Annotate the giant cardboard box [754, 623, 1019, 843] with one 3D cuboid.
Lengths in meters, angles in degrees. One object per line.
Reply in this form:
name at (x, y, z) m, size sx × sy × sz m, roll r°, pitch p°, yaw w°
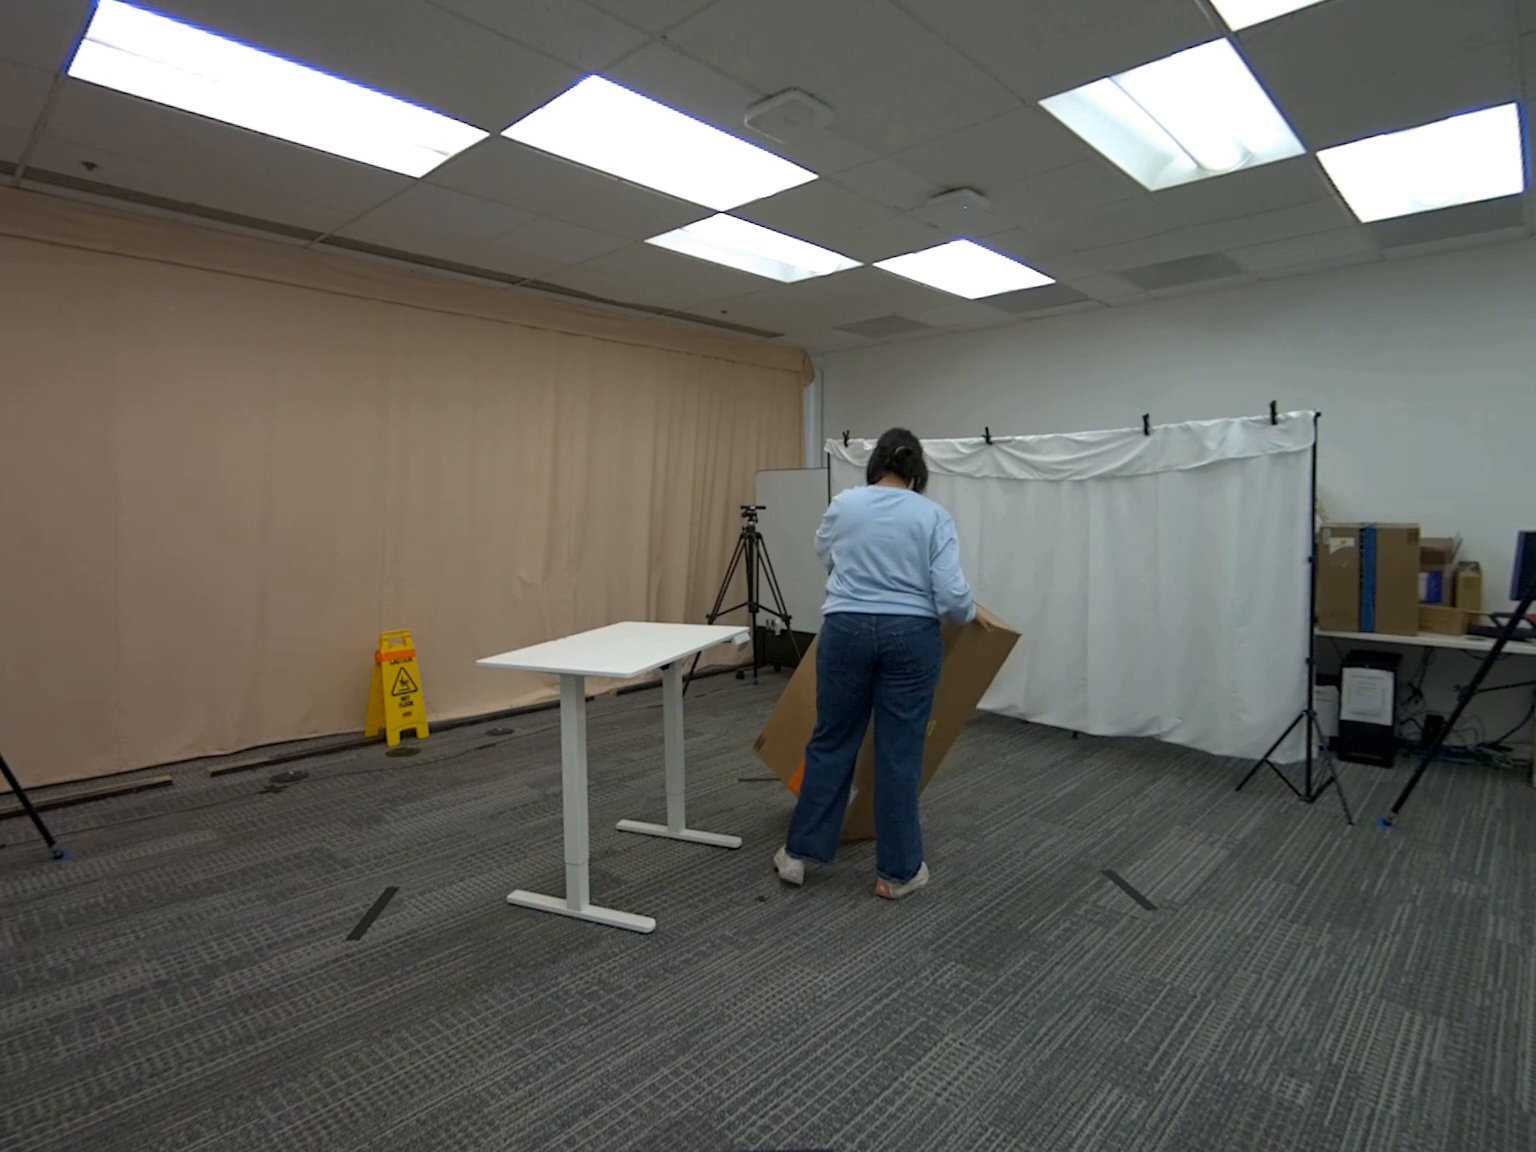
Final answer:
giant cardboard box at (0.471, 0.495, 3.535) m, size 0.411 × 1.025 × 0.599 m, roll 15°, pitch 19°, yaw -47°
